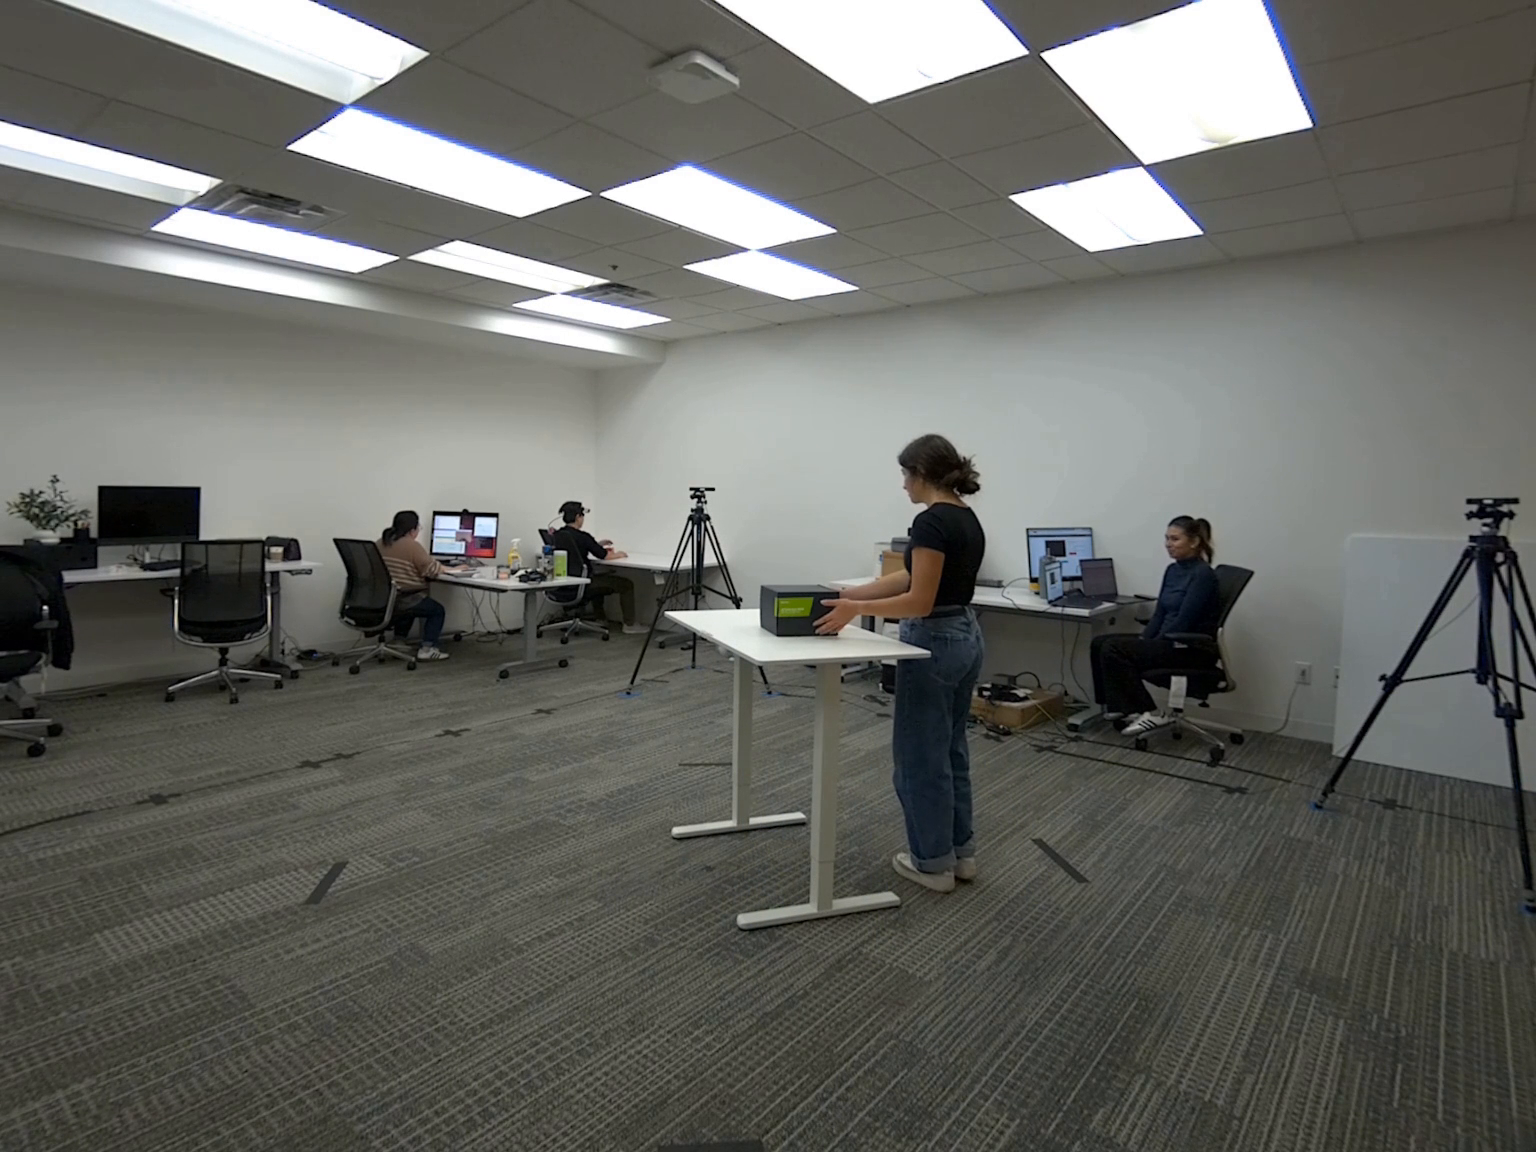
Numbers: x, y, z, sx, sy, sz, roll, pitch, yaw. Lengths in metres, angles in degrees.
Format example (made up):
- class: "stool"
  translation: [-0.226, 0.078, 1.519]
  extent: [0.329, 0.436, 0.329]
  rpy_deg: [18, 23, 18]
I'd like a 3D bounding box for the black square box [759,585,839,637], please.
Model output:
- class: "black square box"
  translation: [0.099, 0.117, 3.049]
  extent: [0.225, 0.155, 0.221]
  rpy_deg: [1, 5, -13]
